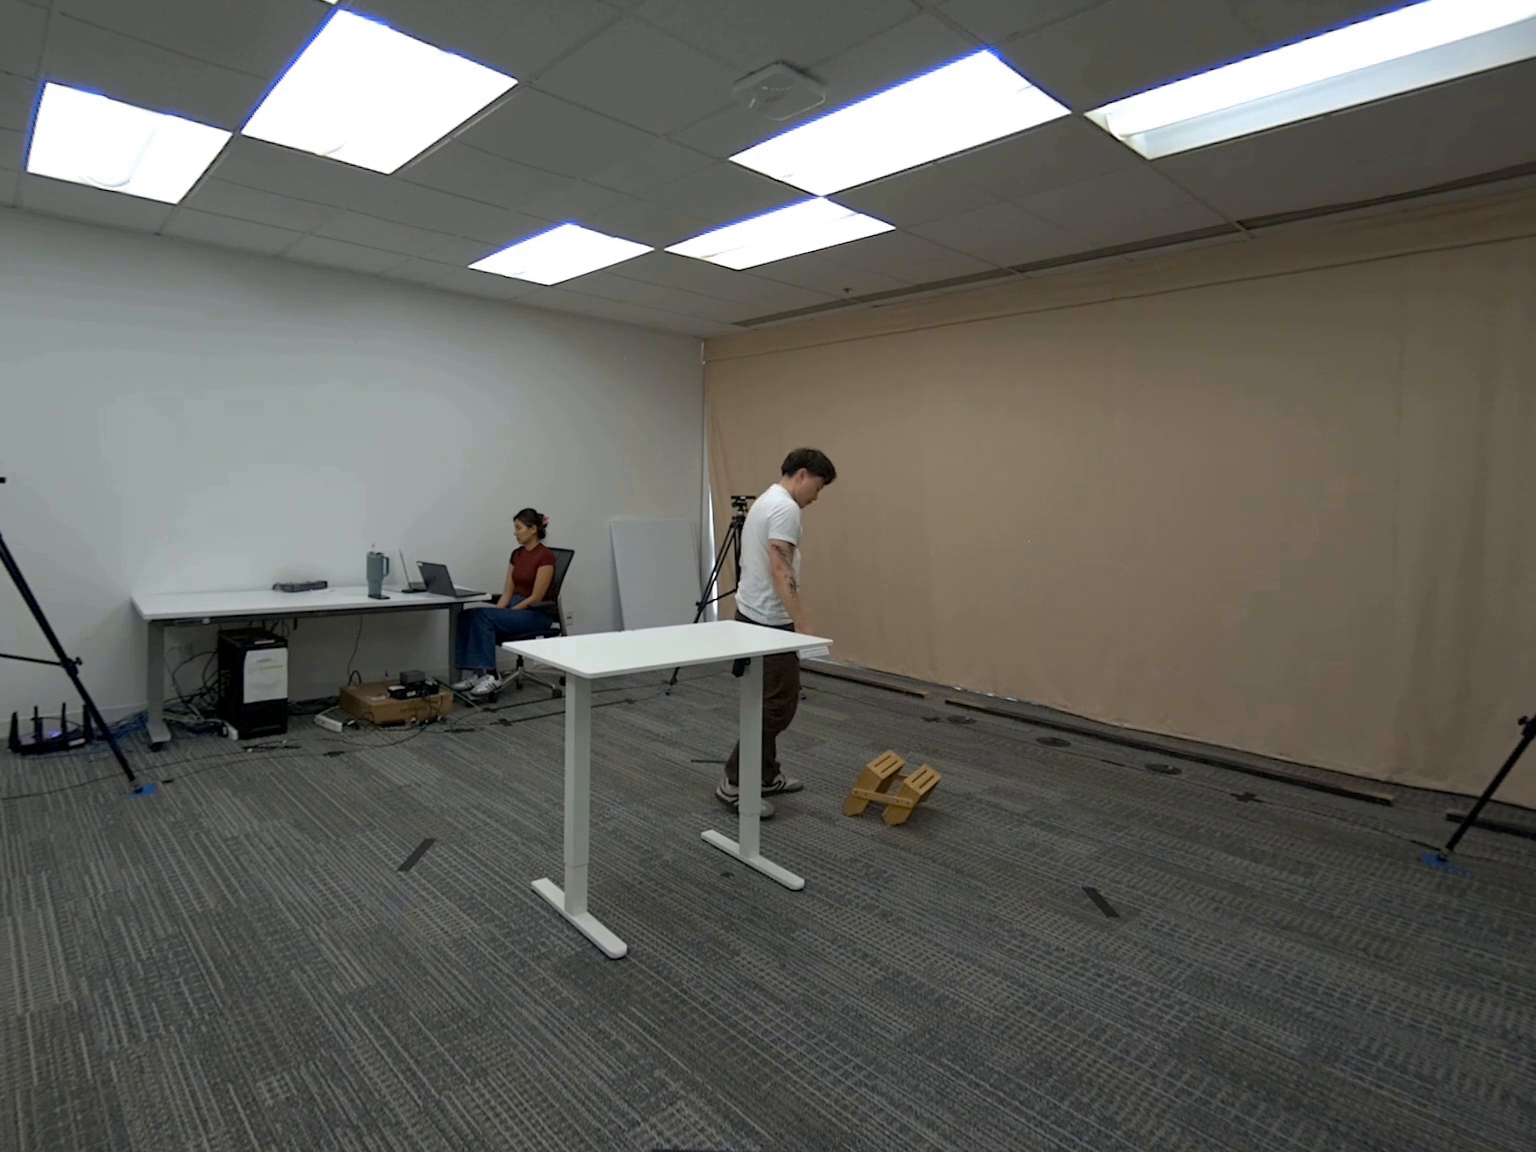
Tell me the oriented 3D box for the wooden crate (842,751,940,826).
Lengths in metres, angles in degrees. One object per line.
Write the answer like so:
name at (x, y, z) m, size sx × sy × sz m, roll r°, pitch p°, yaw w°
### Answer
wooden crate at (0.541, 0.972, 3.763) m, size 0.280 × 0.300 × 0.318 m, roll 35°, pitch 18°, yaw 24°
